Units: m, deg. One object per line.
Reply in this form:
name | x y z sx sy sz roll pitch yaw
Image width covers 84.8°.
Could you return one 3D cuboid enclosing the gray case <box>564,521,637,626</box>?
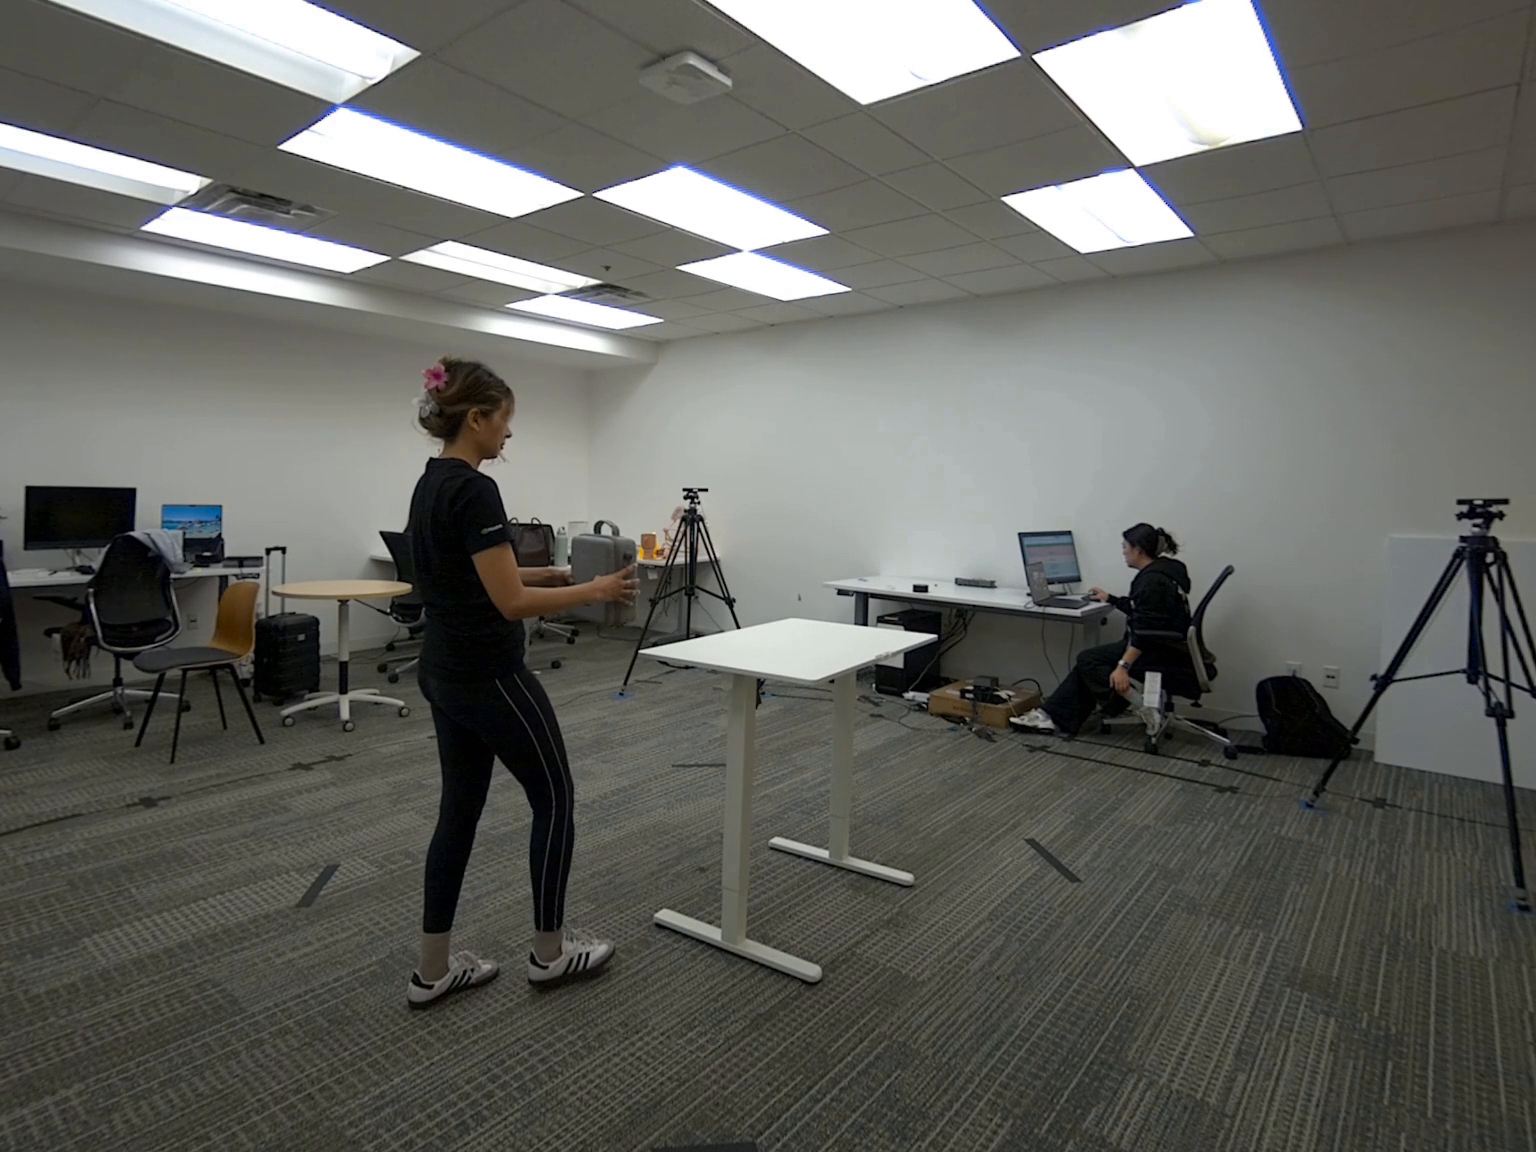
gray case | -0.497 0.000 2.495 0.101 0.259 0.265 -1 6 -34
